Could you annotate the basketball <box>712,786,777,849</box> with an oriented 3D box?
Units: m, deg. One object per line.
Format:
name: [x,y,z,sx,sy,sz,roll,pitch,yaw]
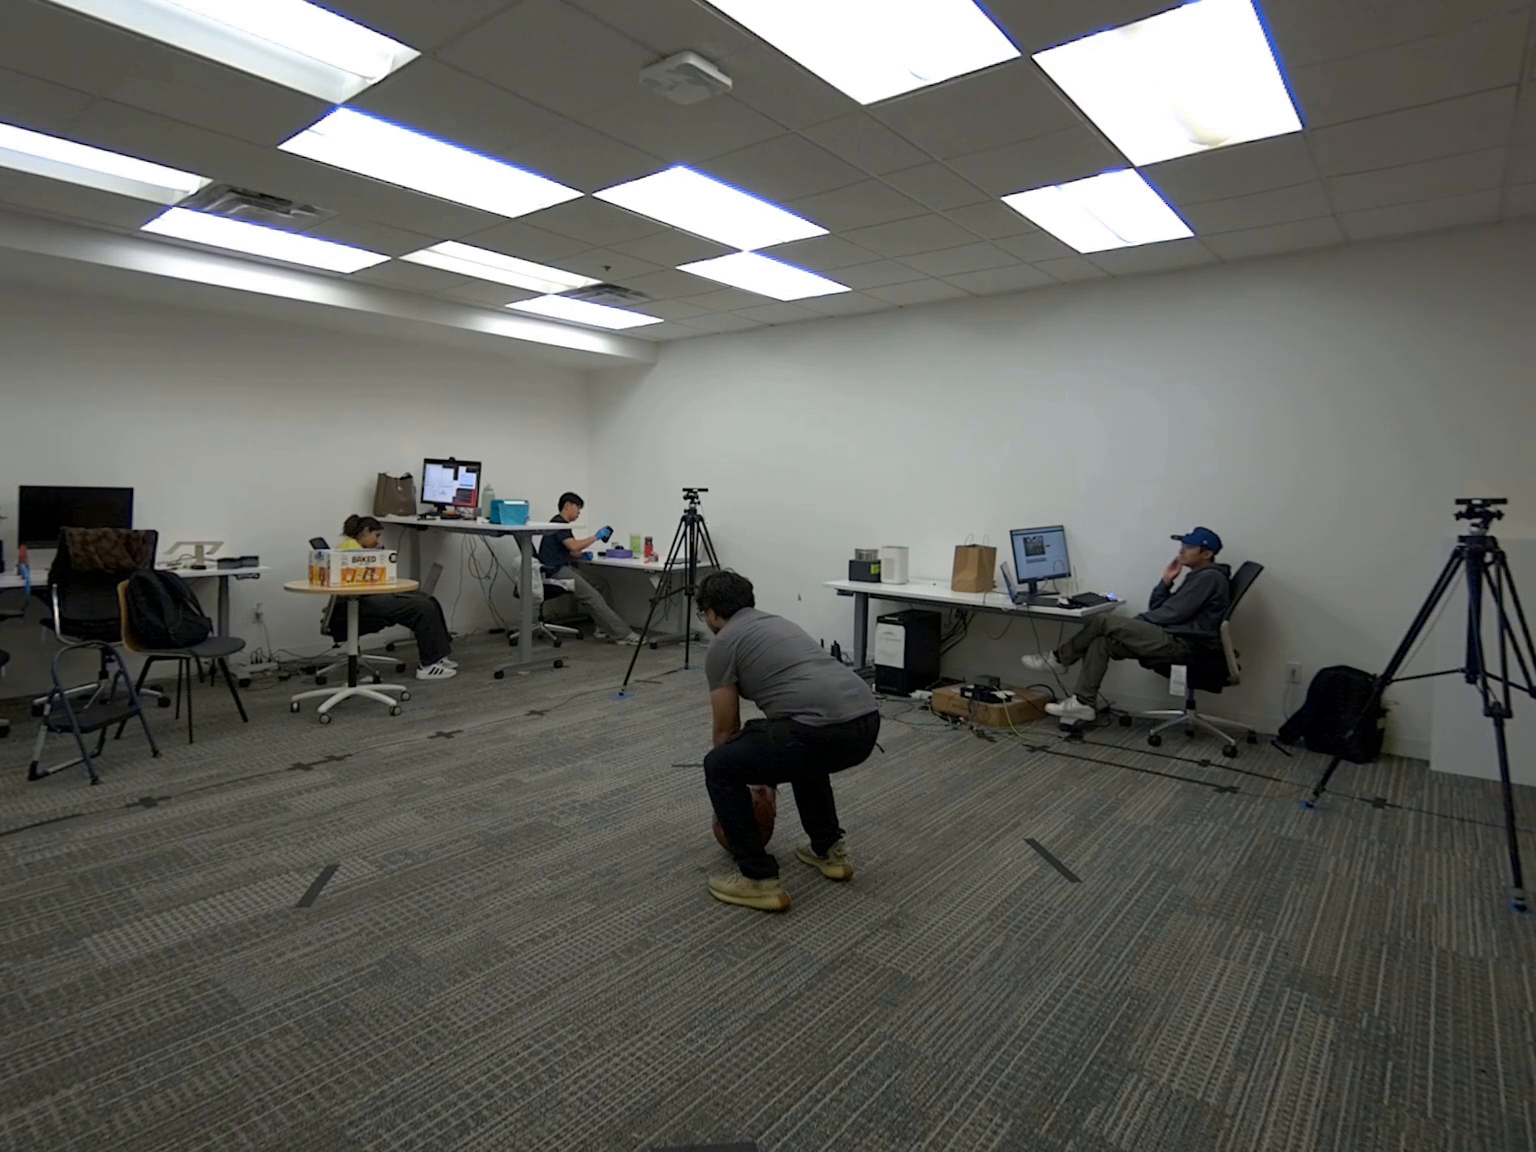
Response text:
basketball: [-0.098,0.922,3.266,0.235,0.235,0.237,1,4,-2]
